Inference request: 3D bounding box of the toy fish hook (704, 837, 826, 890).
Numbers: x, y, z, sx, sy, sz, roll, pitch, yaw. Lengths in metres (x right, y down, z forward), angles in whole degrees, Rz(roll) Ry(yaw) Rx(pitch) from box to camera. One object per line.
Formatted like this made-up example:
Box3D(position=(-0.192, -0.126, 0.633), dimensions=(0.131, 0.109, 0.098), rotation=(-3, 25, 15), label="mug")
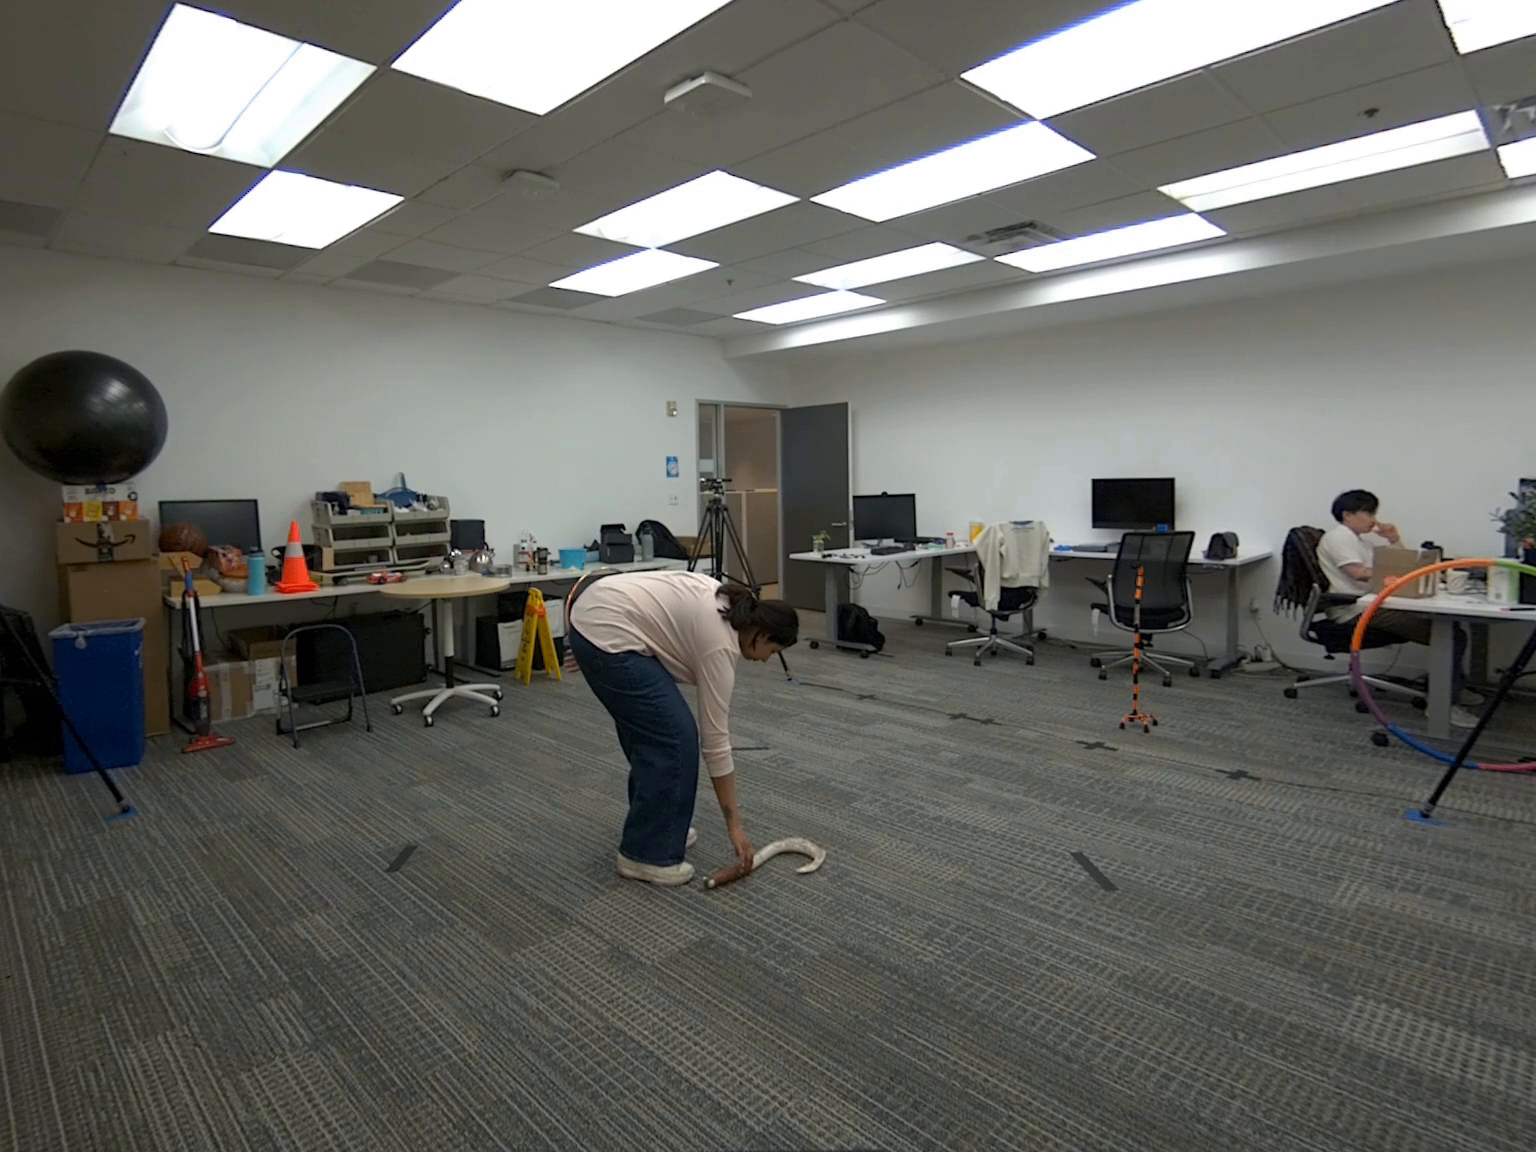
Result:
Box3D(position=(0.001, 1.023, 3.024), dimensions=(0.493, 0.048, 0.231), rotation=(-7, 8, -42), label="toy fish hook")
